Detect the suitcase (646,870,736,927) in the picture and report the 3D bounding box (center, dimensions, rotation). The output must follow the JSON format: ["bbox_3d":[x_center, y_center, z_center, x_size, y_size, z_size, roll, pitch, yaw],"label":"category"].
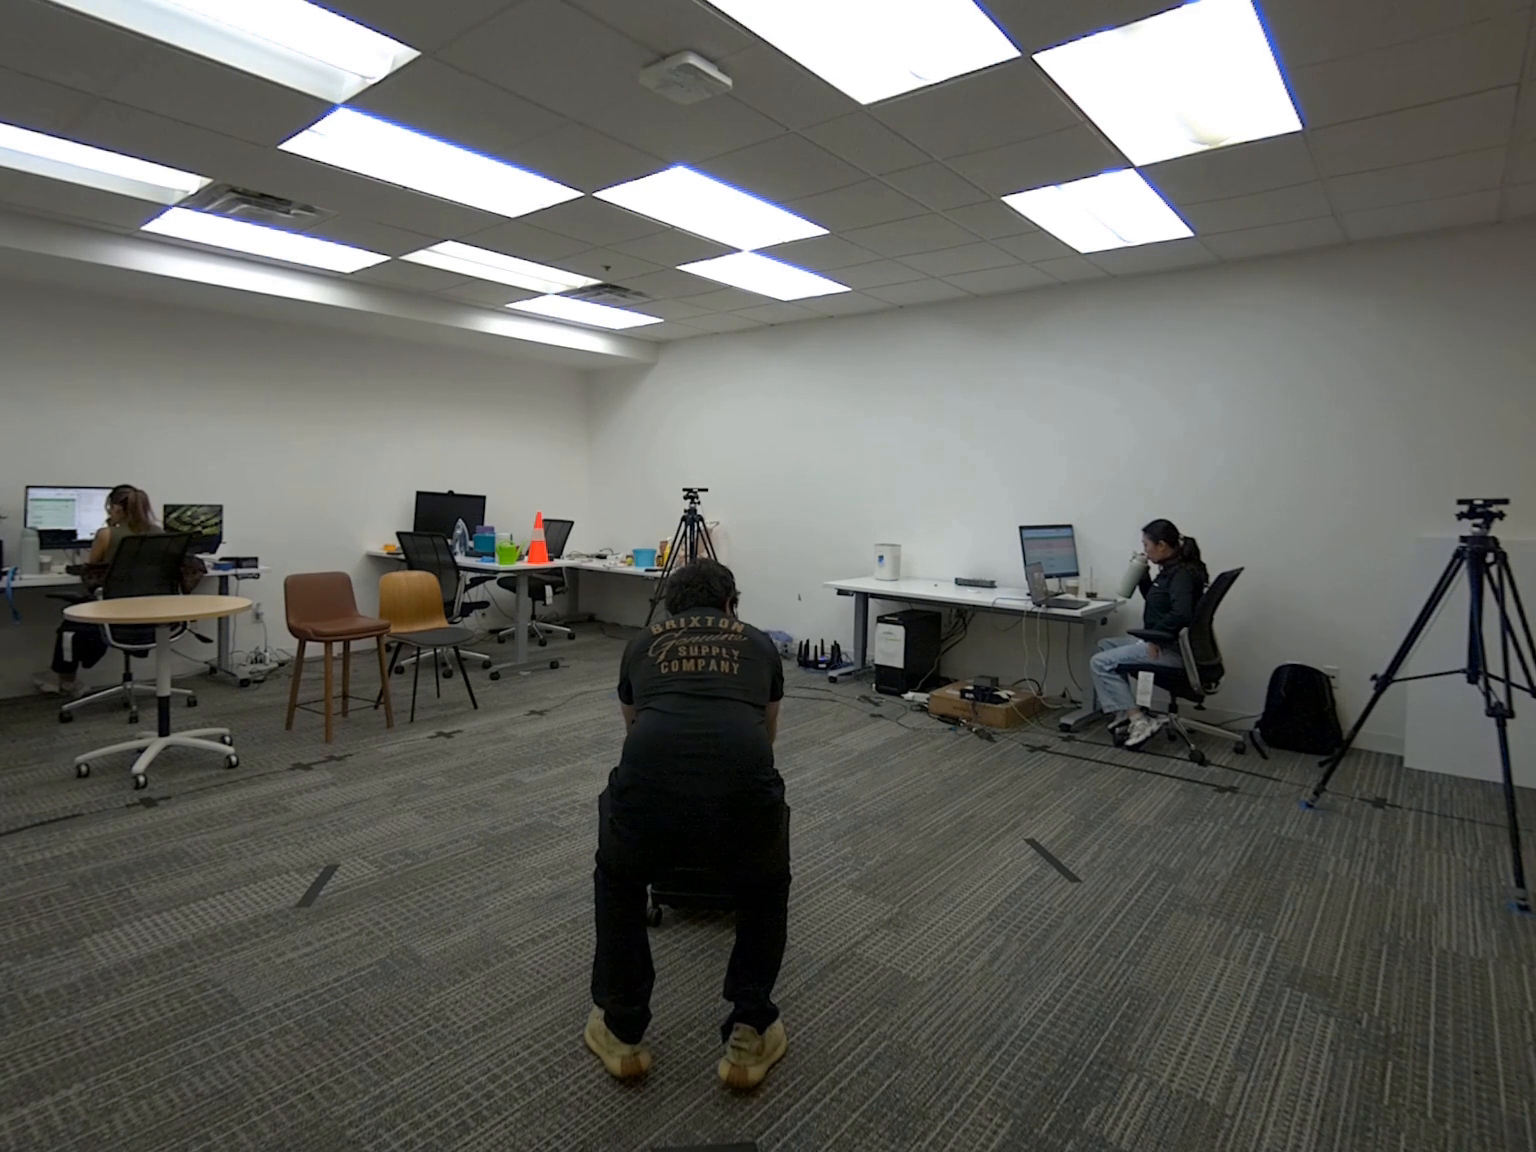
[{"bbox_3d":[-0.211,0.822,2.794,0.377,0.548,0.248,2,2,3],"label":"suitcase"}]
